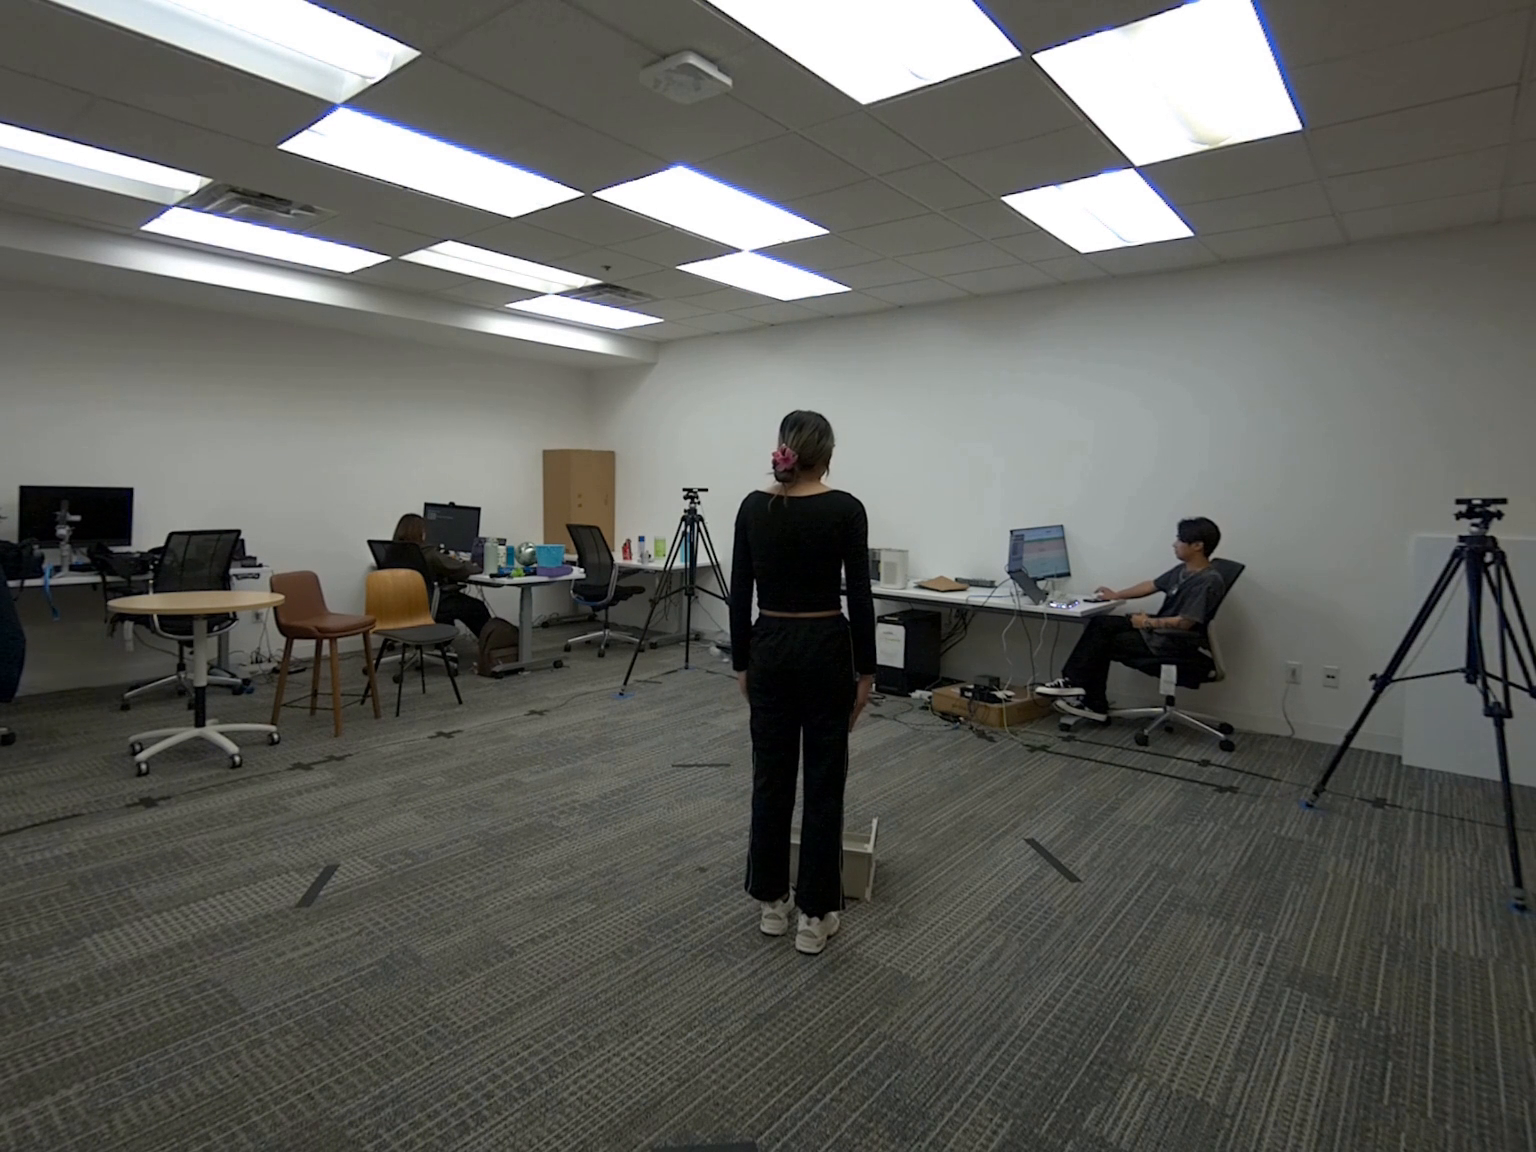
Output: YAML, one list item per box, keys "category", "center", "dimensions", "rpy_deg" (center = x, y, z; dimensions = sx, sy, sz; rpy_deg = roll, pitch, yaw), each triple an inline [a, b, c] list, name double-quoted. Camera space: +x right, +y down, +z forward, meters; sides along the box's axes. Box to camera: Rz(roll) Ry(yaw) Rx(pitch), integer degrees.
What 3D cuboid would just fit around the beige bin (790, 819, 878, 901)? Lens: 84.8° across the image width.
- category: "beige bin"
  center: [0.172, 0.990, 3.102]
  dimensions: [0.429, 0.188, 0.374]
  rpy_deg: [3, 7, 13]
